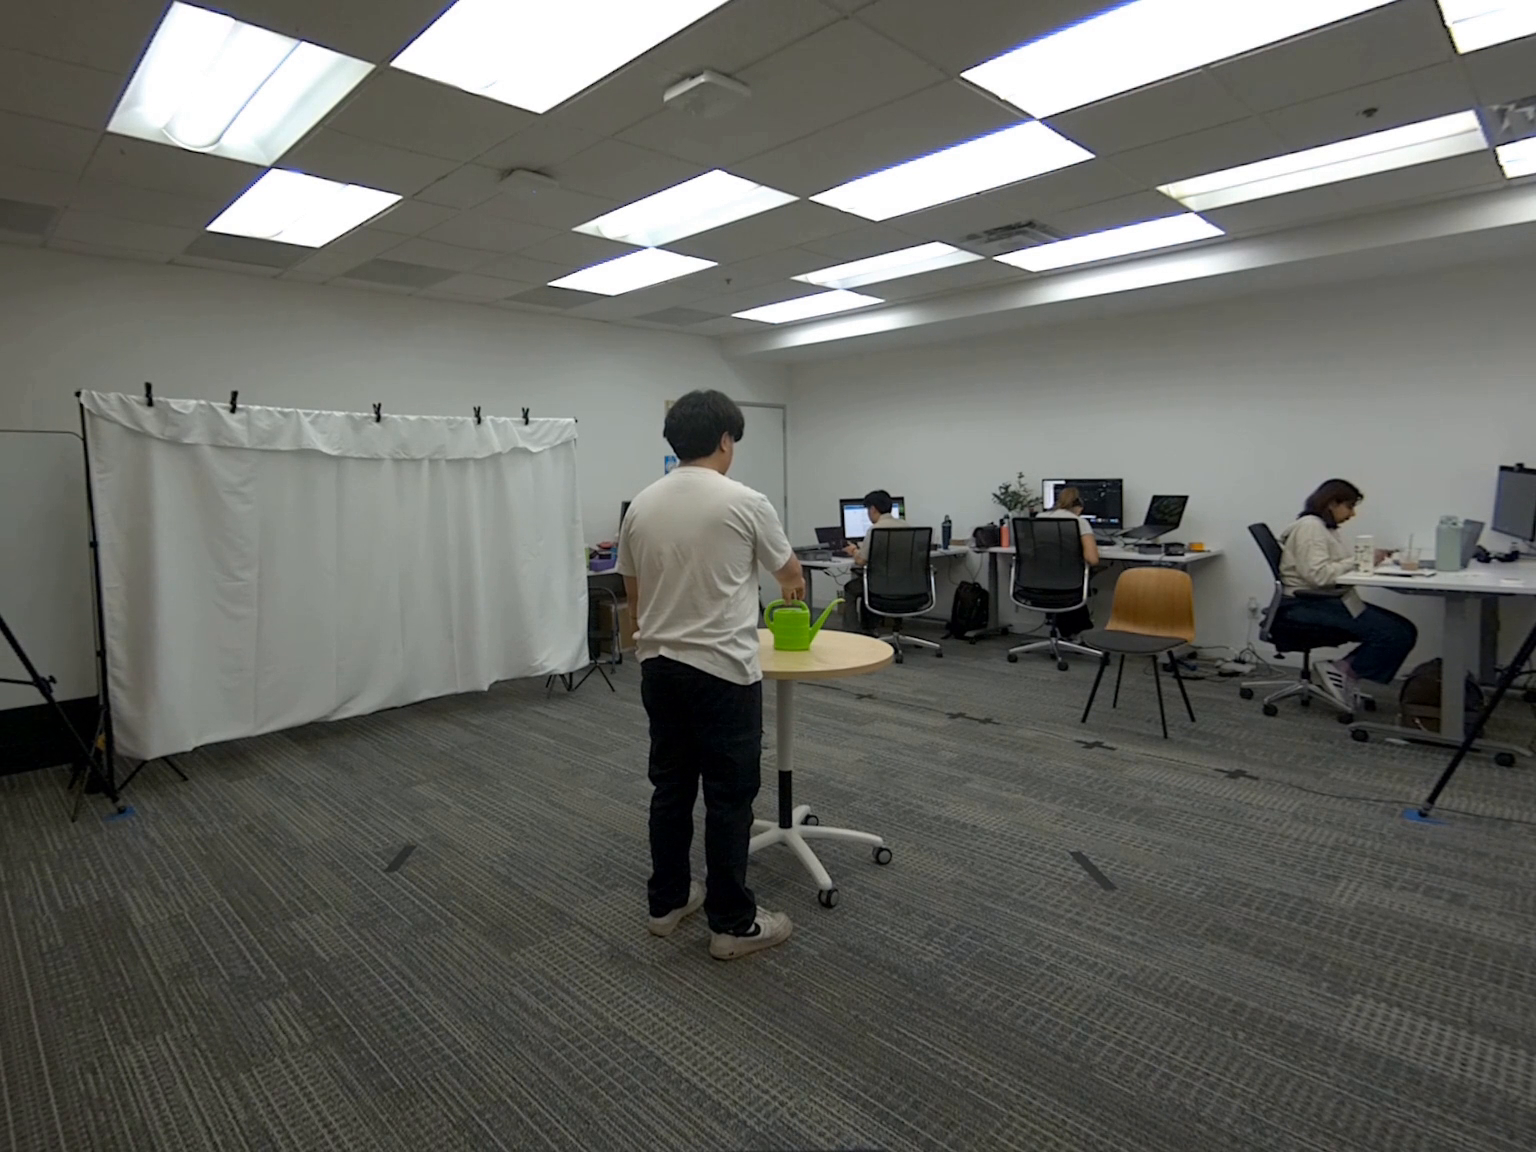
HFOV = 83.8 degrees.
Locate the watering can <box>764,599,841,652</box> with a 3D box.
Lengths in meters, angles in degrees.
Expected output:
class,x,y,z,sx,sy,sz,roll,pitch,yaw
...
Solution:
class,x,y,z,sx,sy,sz,roll,pitch,yaw
watering can,0.132,0.176,3.000,0.283,0.176,0.097,1,5,18
